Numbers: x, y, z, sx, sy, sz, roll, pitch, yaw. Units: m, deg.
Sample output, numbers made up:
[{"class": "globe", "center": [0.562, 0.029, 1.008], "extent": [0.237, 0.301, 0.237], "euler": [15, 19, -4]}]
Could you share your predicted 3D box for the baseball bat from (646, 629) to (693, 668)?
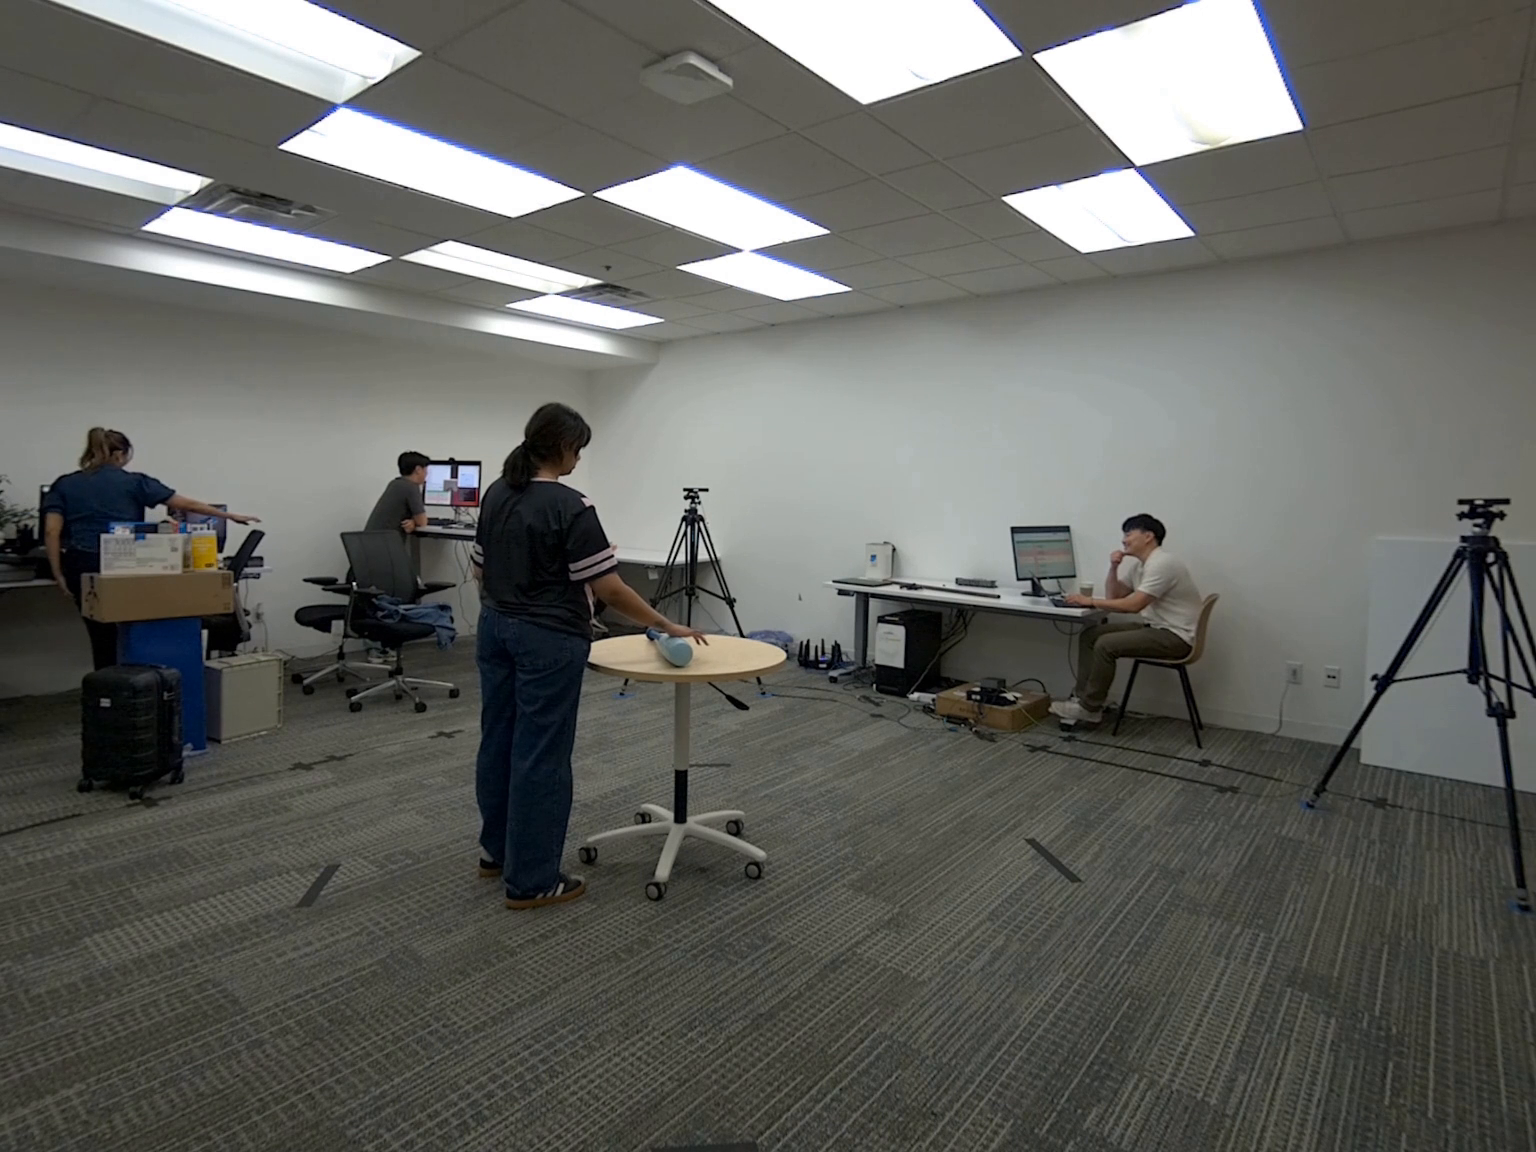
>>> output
[{"class": "baseball bat", "center": [-0.395, 0.247, 3.114], "extent": [0.087, 0.089, 0.554], "euler": [0, 3, -19]}]
